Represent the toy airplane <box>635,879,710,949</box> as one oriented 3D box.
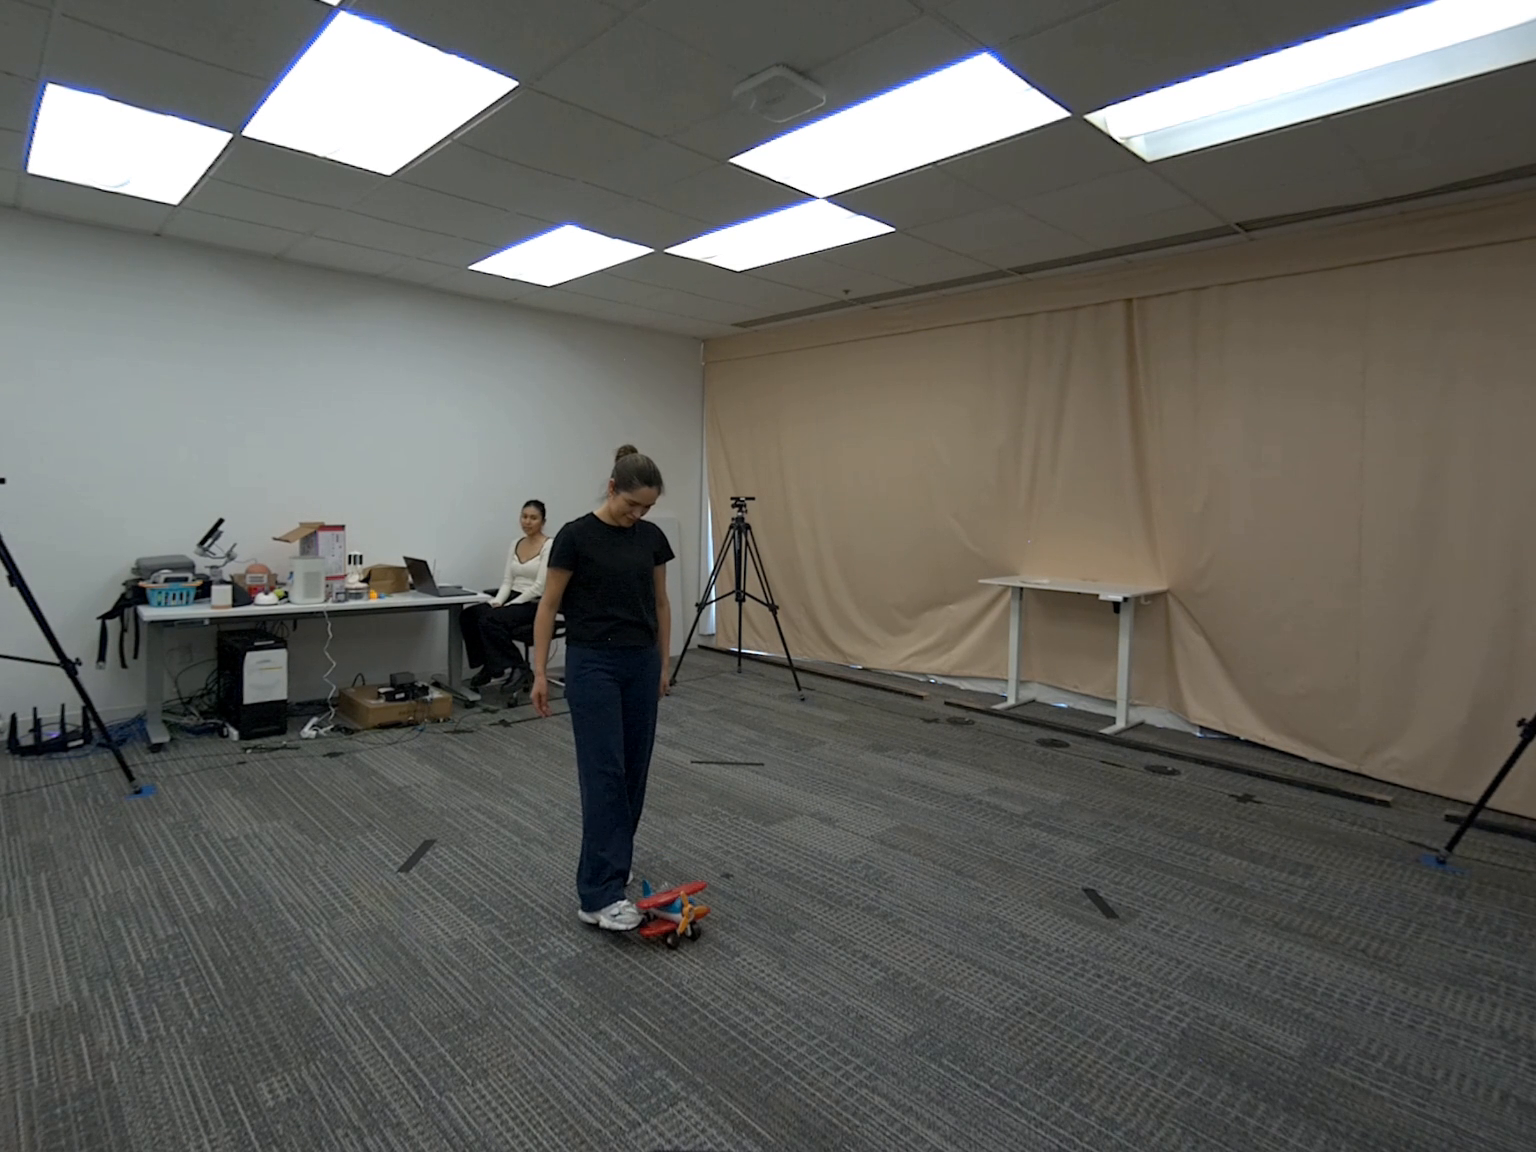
[{"bbox_3d":[-0.344,1.074,2.649,0.264,0.156,0.248,4,6,21],"label":"toy airplane"}]
